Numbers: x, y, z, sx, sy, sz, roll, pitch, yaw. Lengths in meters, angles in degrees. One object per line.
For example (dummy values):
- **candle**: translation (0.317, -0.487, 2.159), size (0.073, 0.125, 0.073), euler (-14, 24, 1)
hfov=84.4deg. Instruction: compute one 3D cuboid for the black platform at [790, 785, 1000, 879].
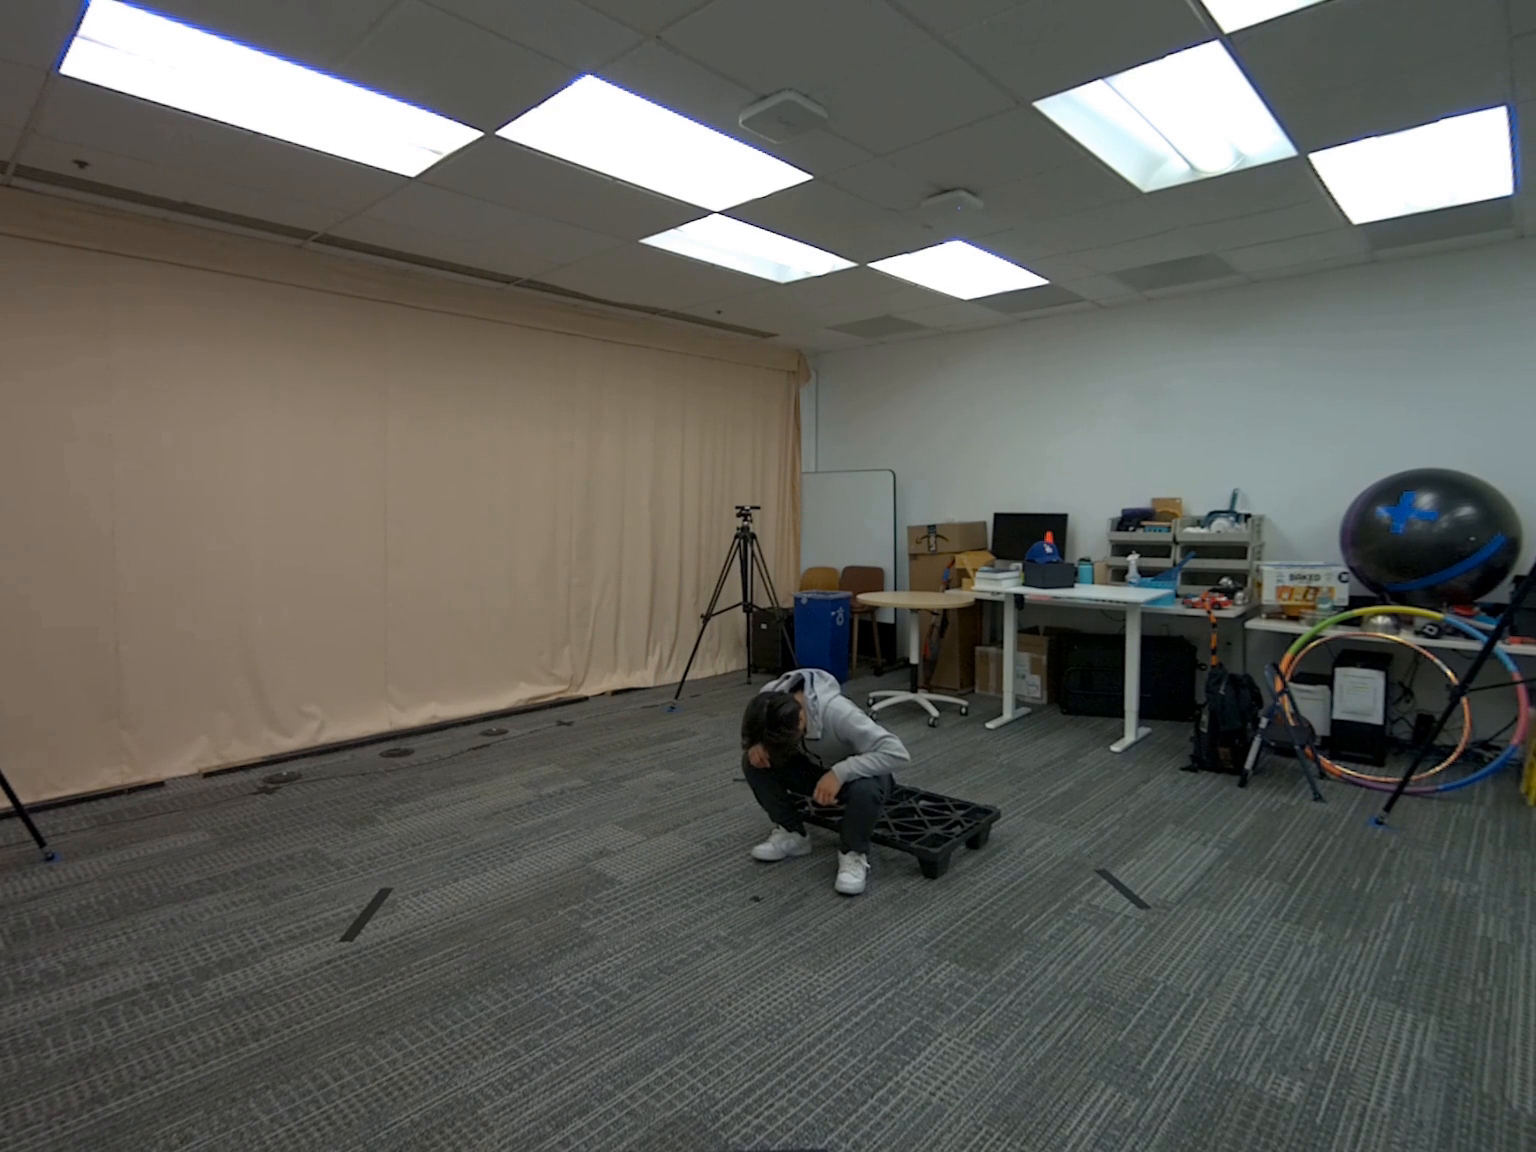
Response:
- **black platform**: translation (0.478, 1.030, 3.533), size (0.832, 0.143, 0.587), euler (4, 6, 39)
